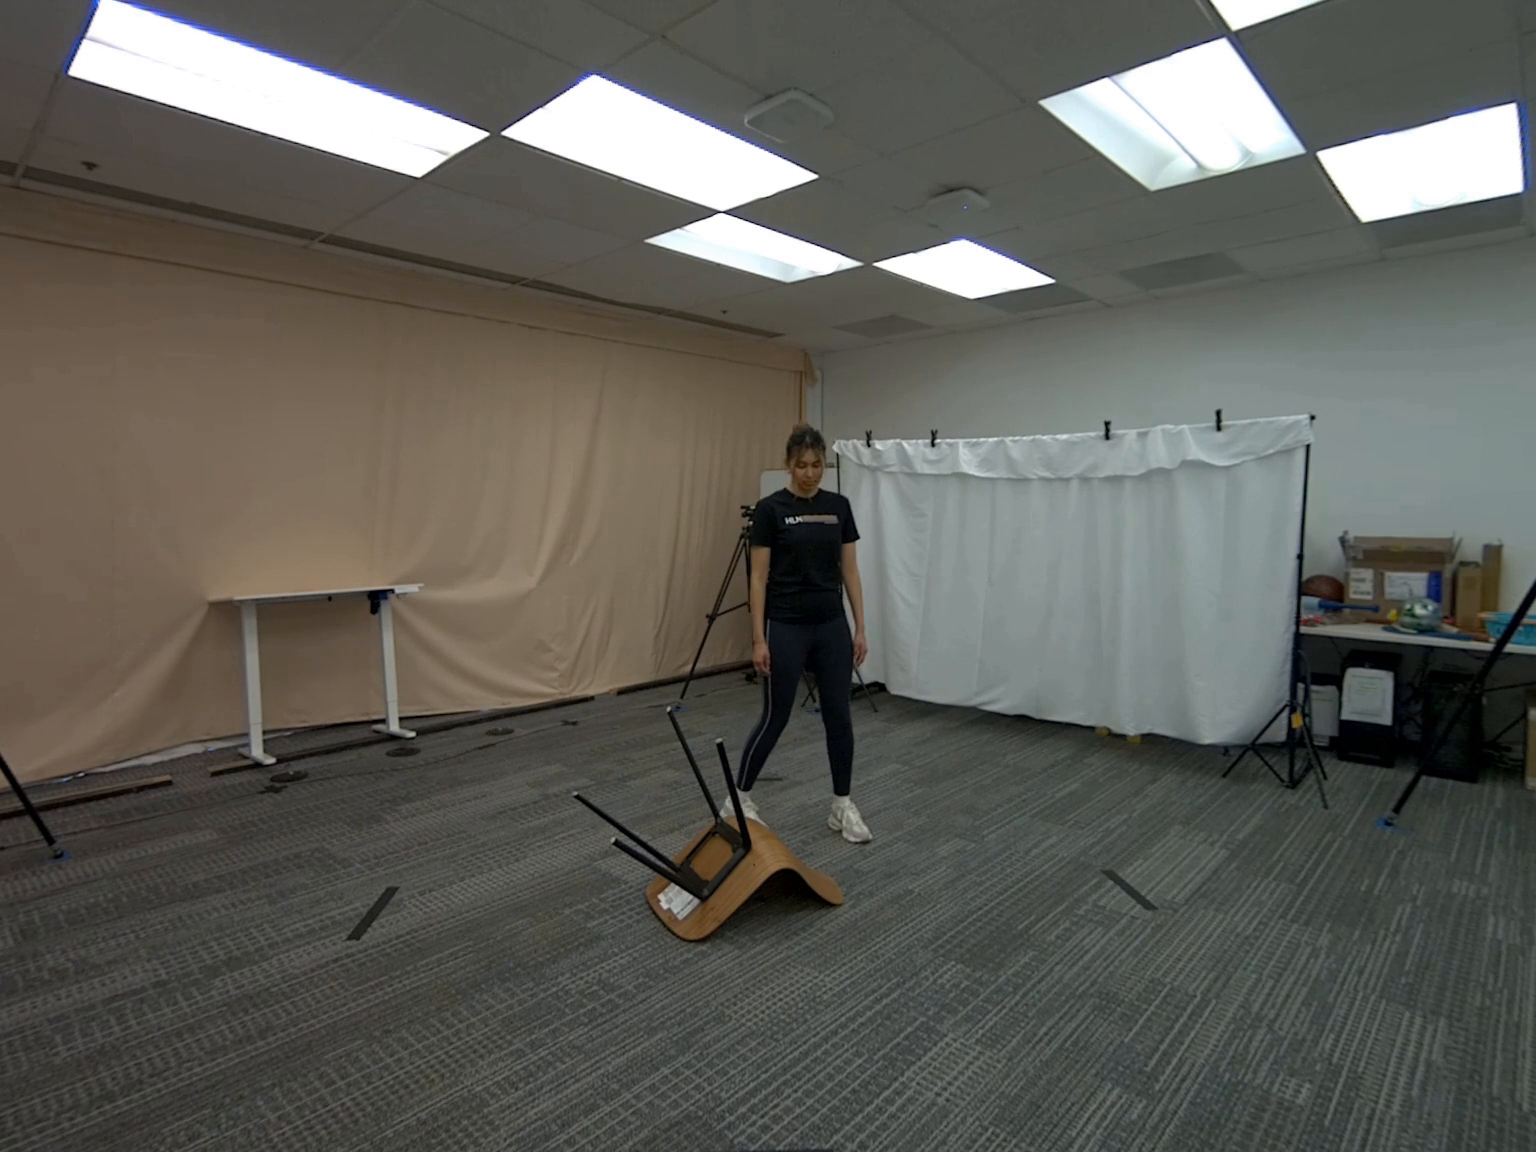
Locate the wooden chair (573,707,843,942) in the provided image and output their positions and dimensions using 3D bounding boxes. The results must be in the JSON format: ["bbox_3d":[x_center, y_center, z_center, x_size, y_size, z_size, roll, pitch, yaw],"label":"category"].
[{"bbox_3d":[-0.197,0.979,2.917,0.520,0.859,0.491,-44,21,-17],"label":"wooden chair"}]
